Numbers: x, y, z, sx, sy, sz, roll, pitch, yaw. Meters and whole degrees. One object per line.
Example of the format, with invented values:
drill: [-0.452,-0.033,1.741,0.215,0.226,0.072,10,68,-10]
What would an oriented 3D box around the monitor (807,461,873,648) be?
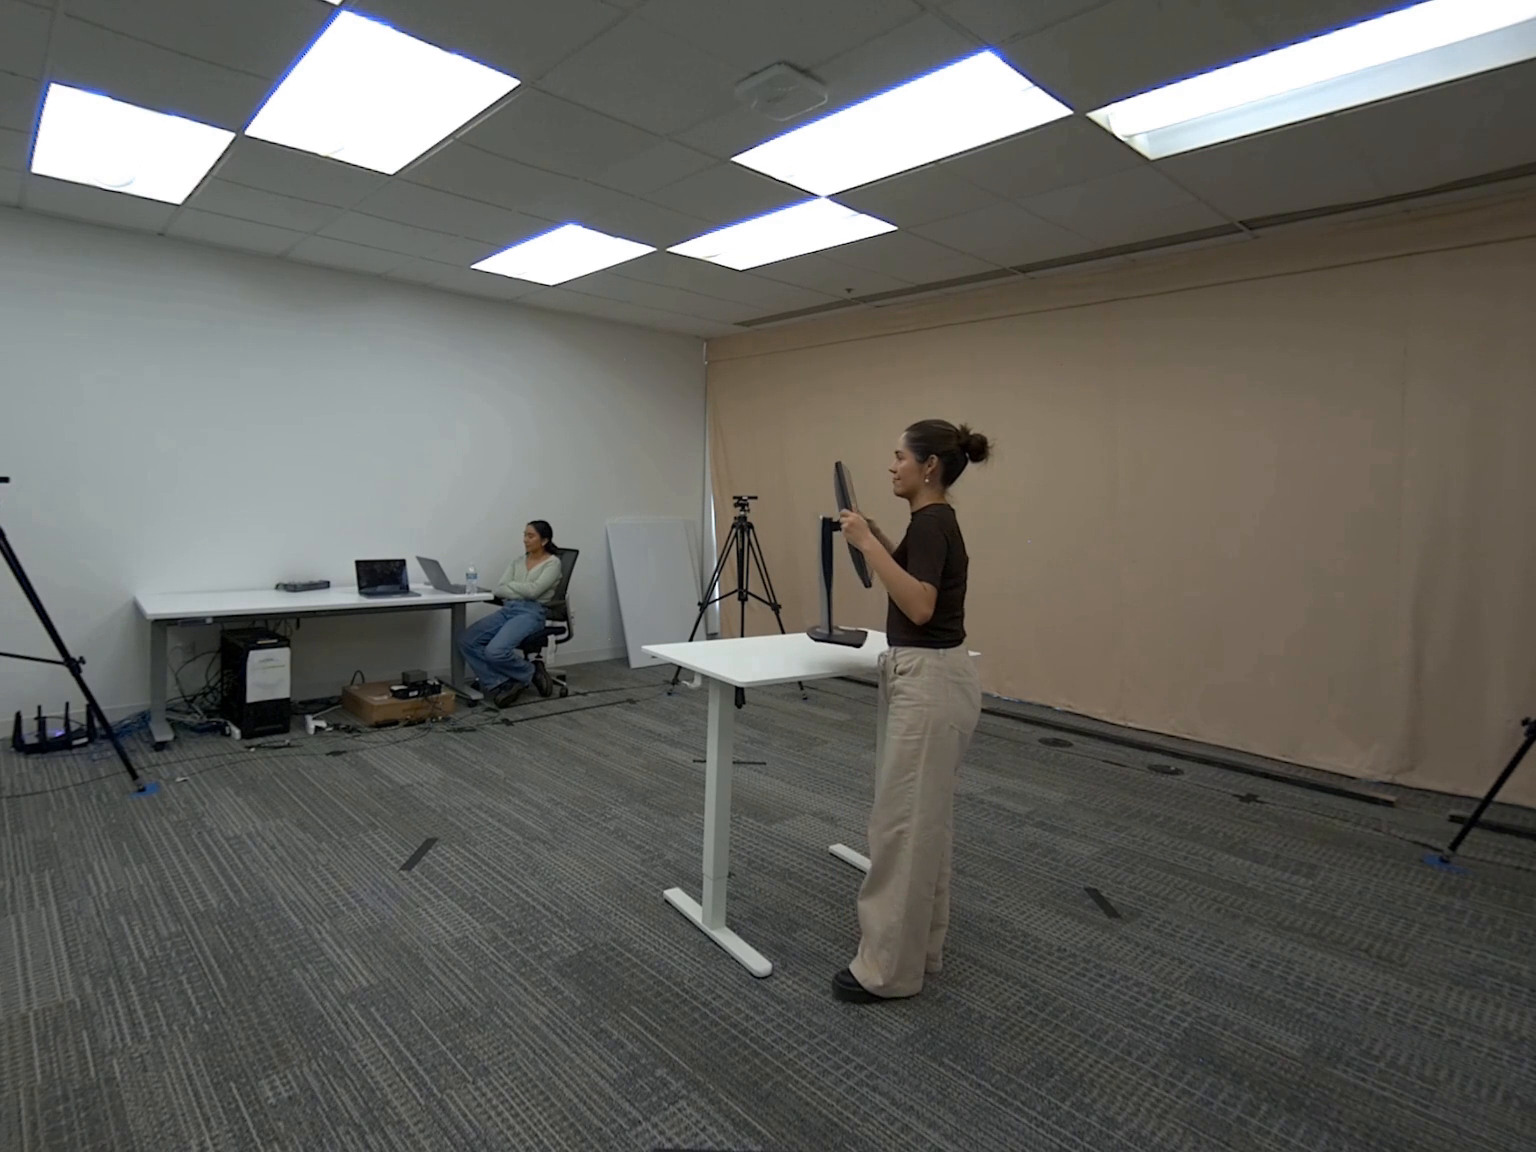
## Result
monitor: [0.228,-0.065,2.527,0.188,0.522,0.536,2,2,7]
